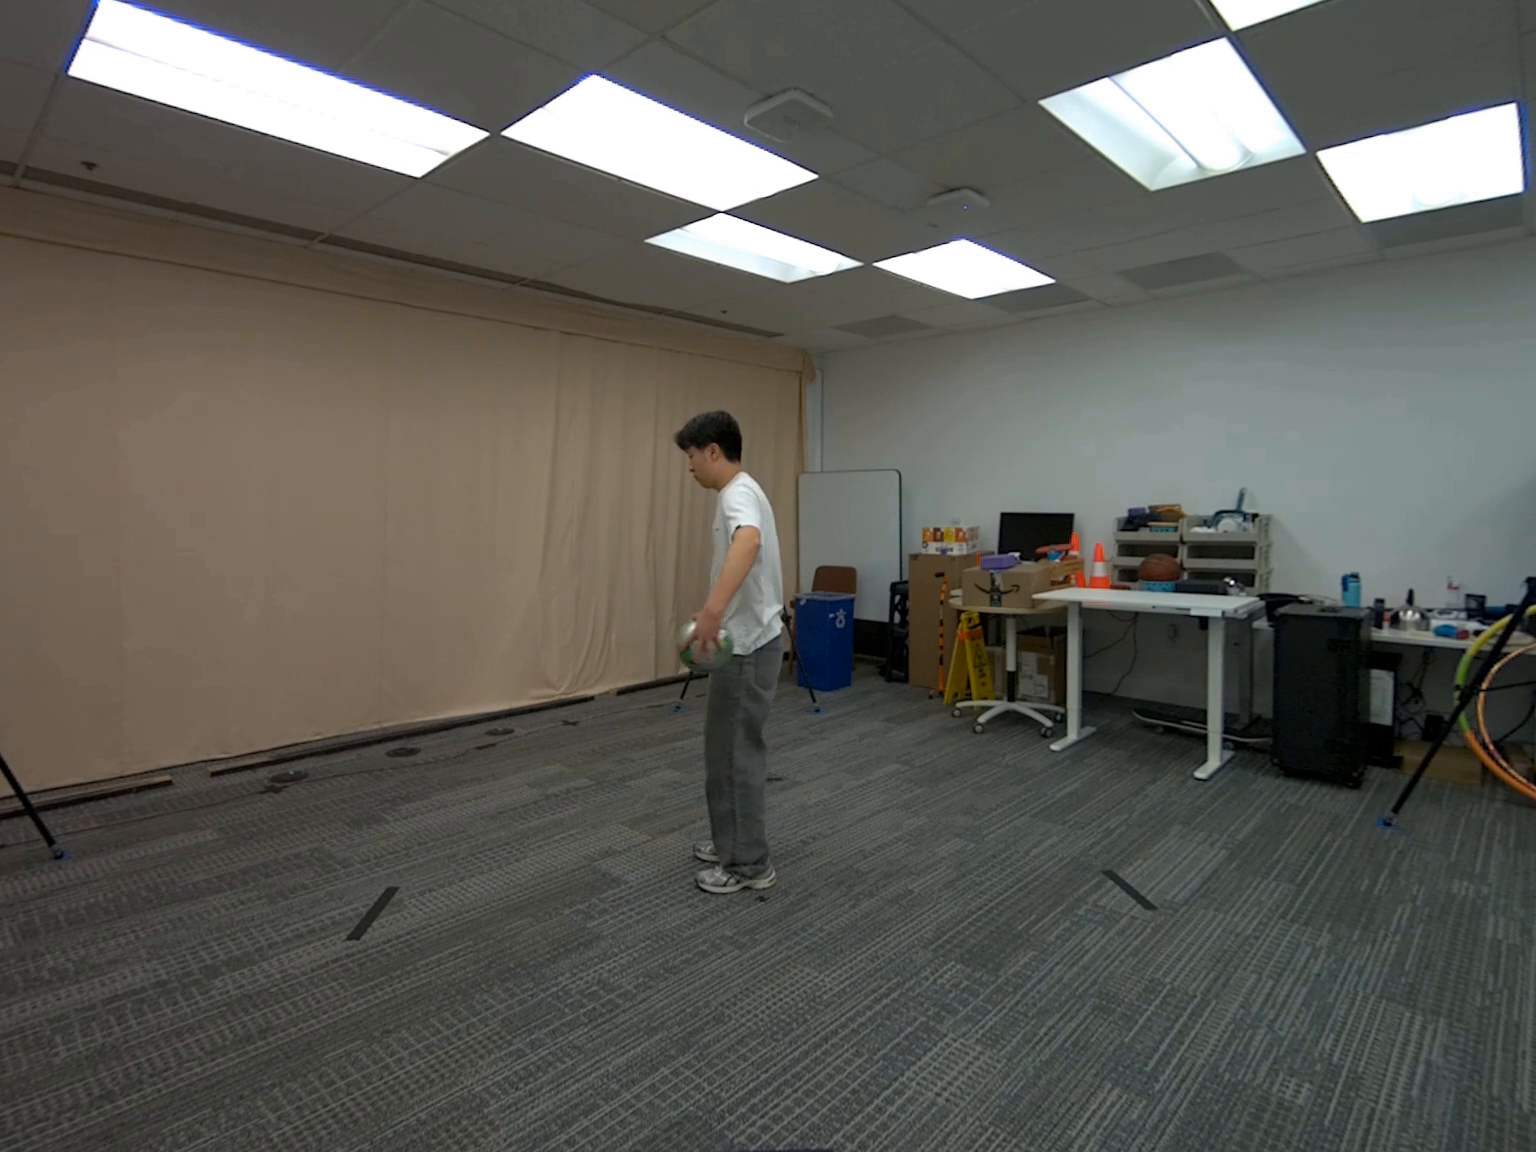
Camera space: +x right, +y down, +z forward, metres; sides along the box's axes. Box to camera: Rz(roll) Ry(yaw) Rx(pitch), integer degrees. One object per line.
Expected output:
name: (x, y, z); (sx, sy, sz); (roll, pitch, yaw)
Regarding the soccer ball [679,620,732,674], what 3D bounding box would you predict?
soccer ball: (-0.175, 0.215, 2.752); (0.187, 0.187, 0.188); (0, 4, -2)
